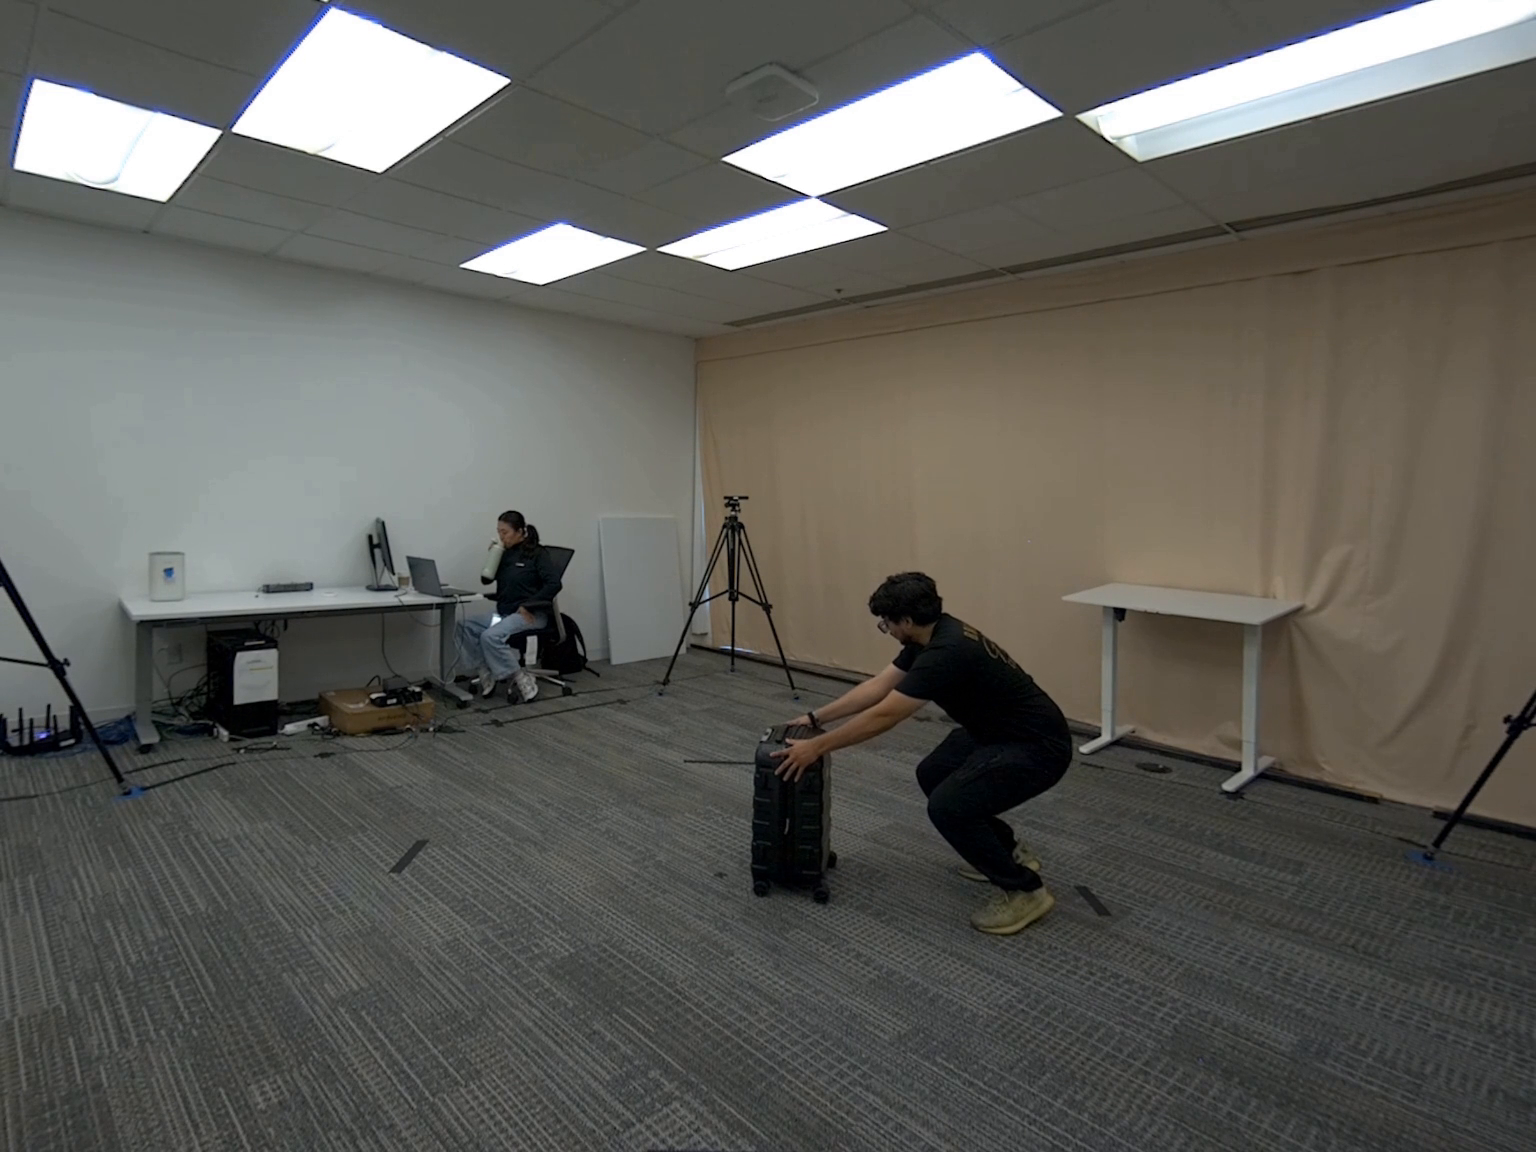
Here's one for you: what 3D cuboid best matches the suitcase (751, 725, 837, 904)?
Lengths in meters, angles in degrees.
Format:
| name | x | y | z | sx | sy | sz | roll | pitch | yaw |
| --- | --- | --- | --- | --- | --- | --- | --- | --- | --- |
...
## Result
| name | x | y | z | sx | sy | sz | roll | pitch | yaw |
| --- | --- | --- | --- | --- | --- | --- | --- | --- | --- |
| suitcase | 0.090 | 0.836 | 3.076 | 0.250 | 0.548 | 0.374 | -1 | 3 | 7 |
